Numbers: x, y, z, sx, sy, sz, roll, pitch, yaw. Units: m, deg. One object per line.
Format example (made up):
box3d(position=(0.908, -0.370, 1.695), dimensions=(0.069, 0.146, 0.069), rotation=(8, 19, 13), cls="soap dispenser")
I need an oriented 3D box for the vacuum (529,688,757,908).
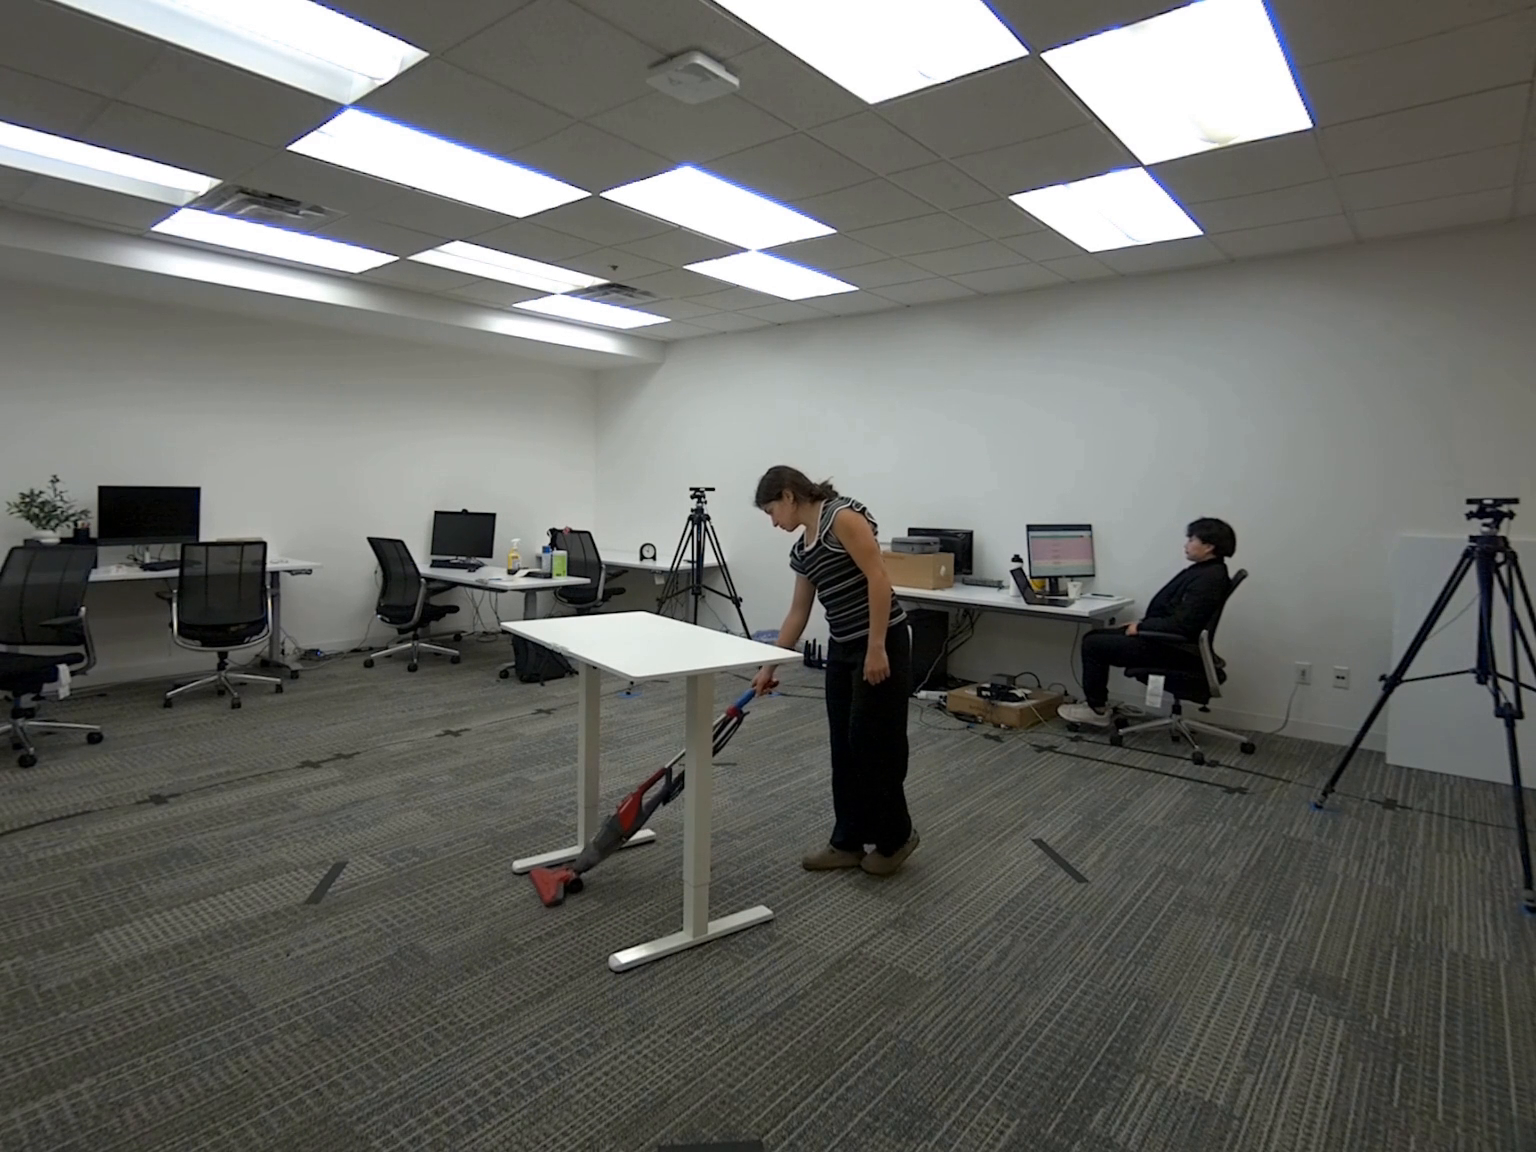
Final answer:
box3d(position=(-0.359, 0.739, 3.092), dimensions=(1.045, 0.140, 0.261), rotation=(-40, 26, -18), cls="vacuum")
